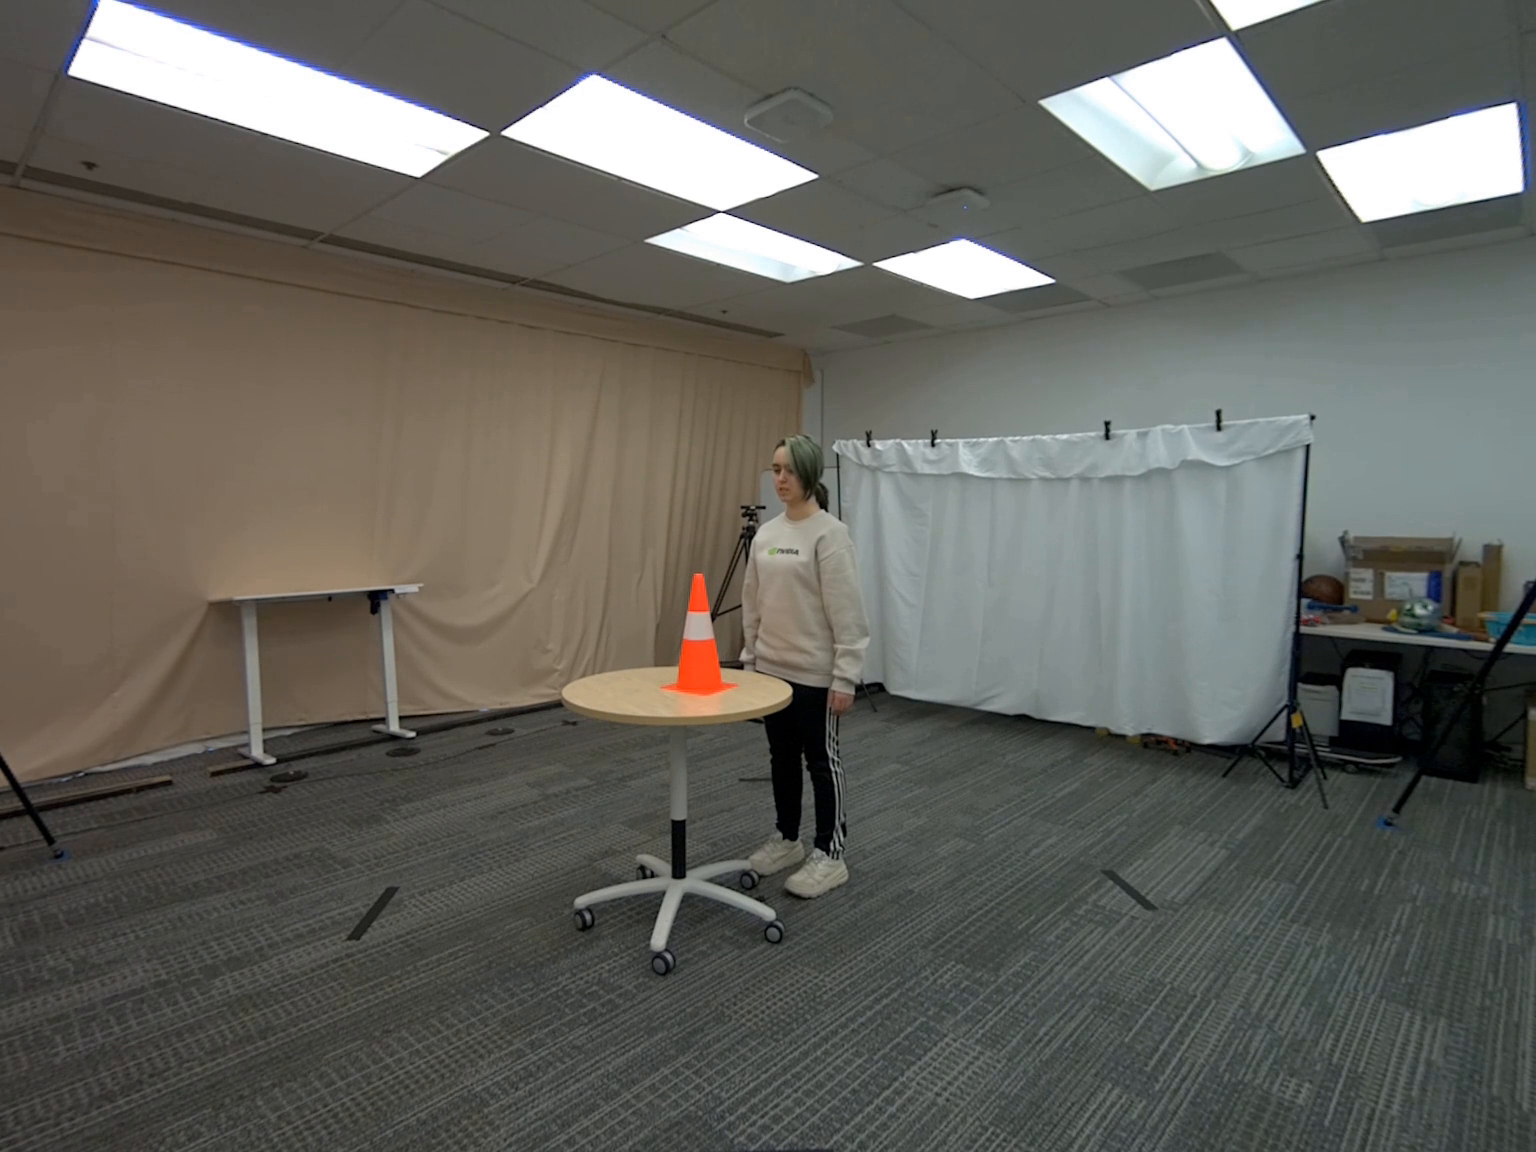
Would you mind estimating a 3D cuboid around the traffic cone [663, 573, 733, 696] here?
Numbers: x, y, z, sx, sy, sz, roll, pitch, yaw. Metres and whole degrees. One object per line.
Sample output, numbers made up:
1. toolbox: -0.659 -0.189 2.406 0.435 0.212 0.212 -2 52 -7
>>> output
1. traffic cone: -0.230 0.188 2.831 0.211 0.383 0.197 2 3 32
